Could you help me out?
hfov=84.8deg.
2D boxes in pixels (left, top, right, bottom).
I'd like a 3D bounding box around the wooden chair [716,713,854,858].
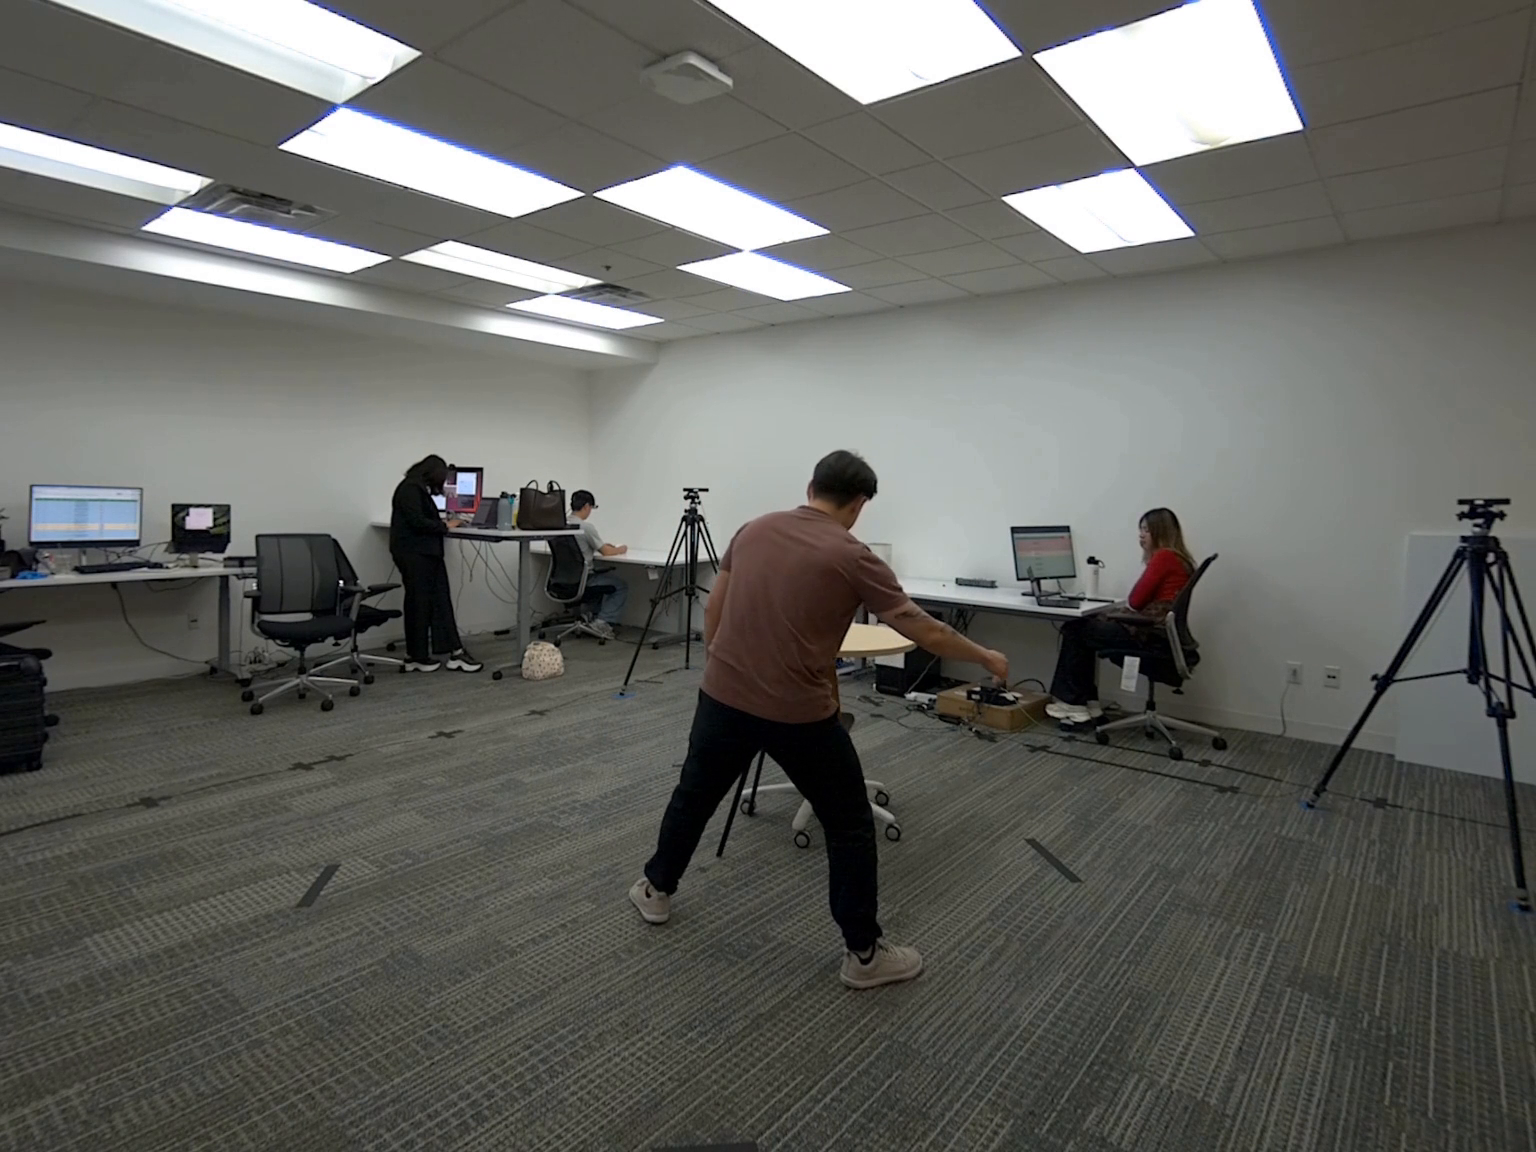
[{"bbox_3d":[0.074,0.625,3.338,0.487,0.872,0.517,2,7,17],"label":"wooden chair"}]
